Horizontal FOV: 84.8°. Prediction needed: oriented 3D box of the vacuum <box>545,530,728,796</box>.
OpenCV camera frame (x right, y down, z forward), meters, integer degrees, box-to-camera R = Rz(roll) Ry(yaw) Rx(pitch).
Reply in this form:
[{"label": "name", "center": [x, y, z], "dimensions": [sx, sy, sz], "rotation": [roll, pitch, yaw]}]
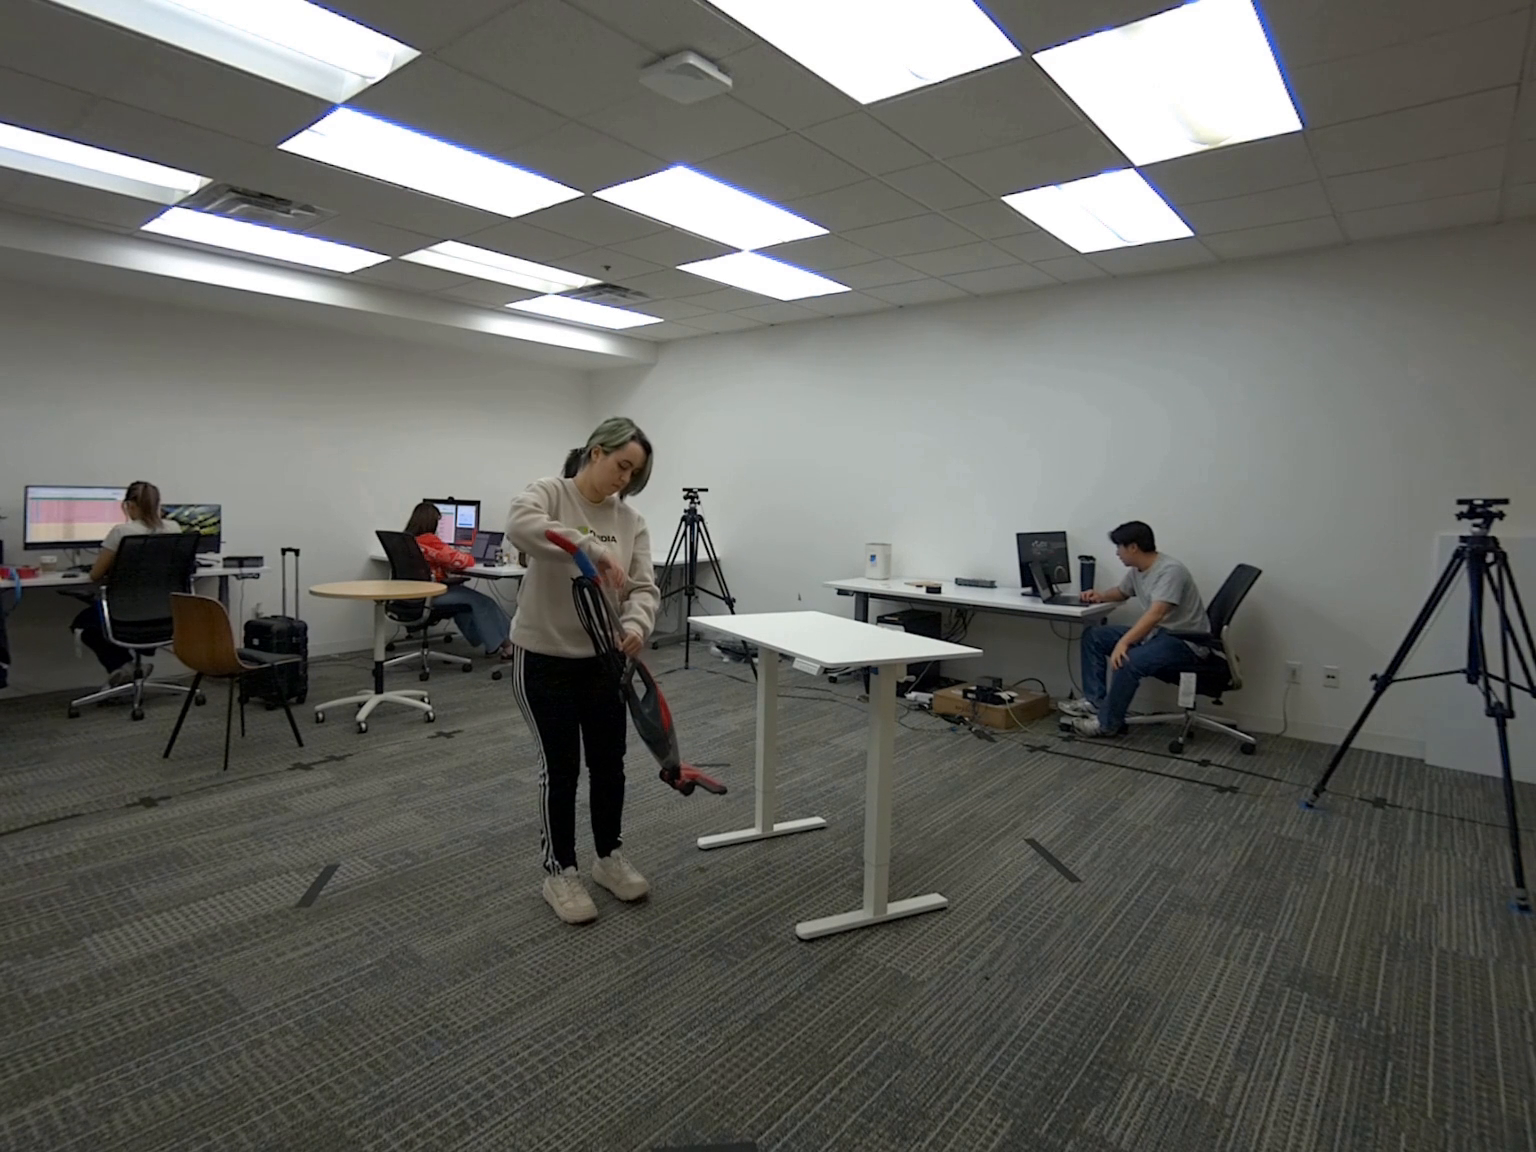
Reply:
[{"label": "vacuum", "center": [-0.432, 0.285, 2.589], "dimensions": [0.143, 1.015, 0.263], "rotation": [-38, 35, -26]}]
